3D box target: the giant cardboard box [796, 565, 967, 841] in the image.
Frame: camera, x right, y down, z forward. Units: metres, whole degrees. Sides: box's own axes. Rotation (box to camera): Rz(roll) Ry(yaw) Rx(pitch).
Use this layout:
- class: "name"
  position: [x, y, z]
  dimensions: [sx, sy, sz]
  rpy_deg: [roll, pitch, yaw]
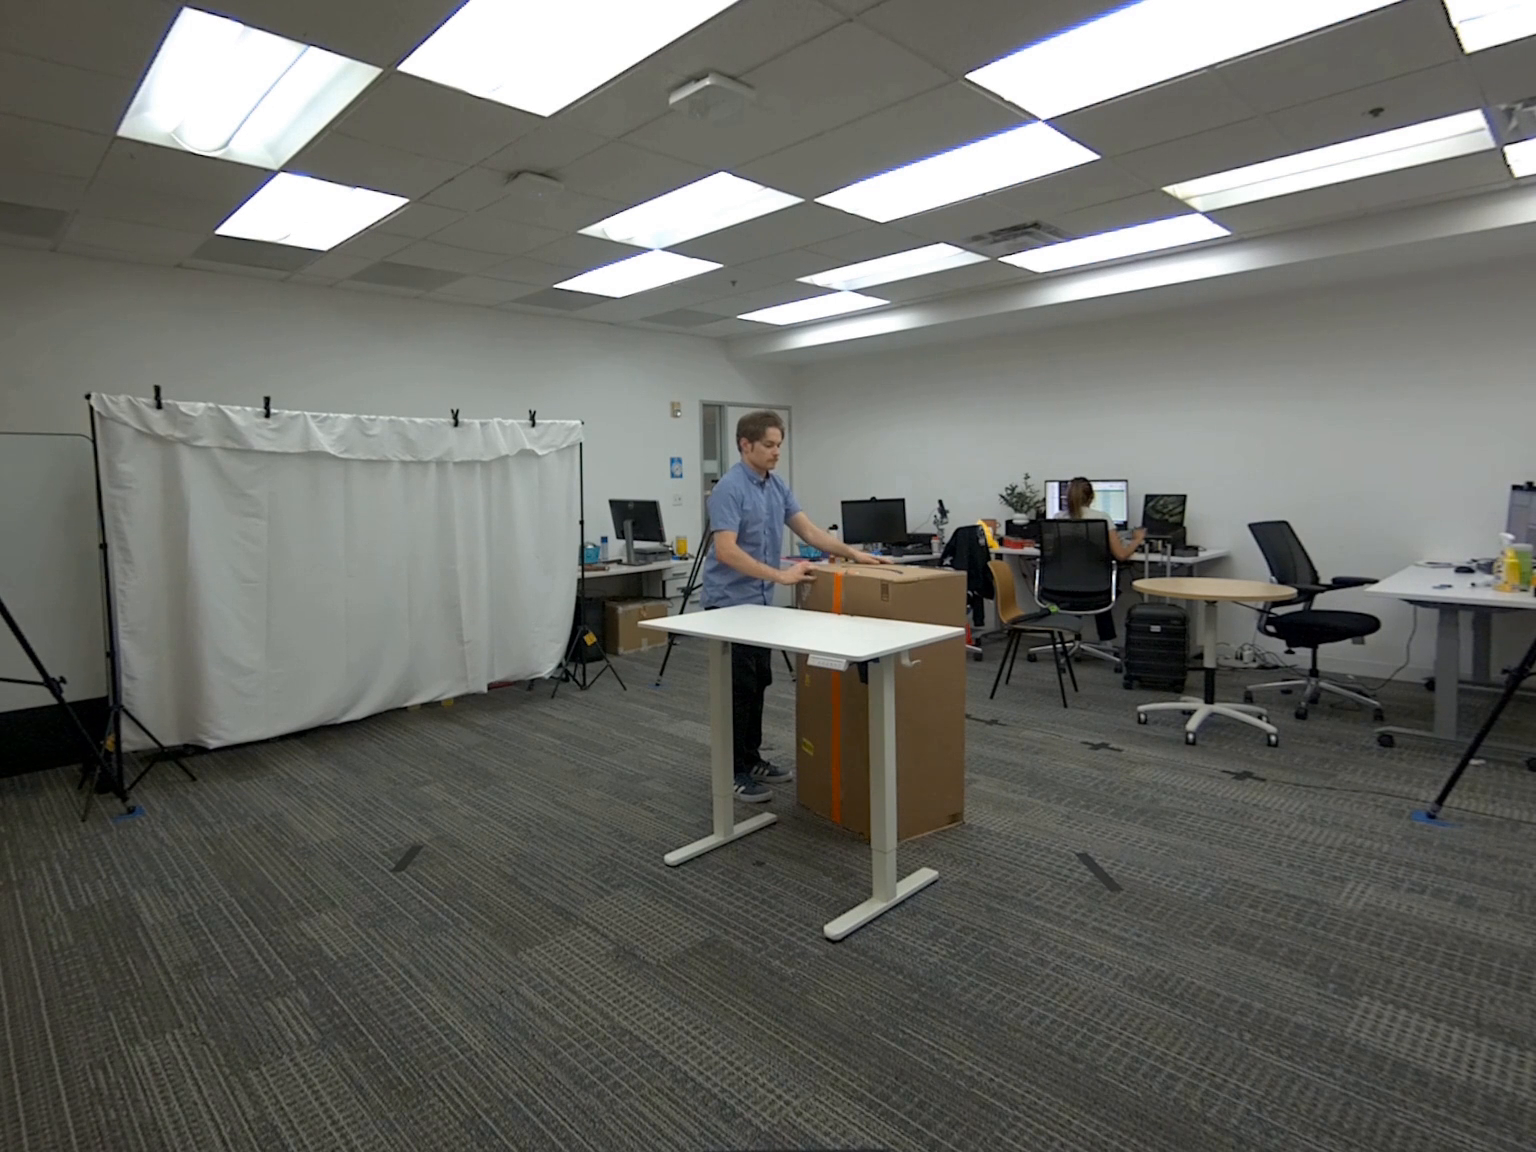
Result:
- class: "giant cardboard box"
  position: [0.453, 0.479, 3.535]
  dimensions: [0.415, 1.022, 0.595]
  rpy_deg: [-3, 6, -34]
